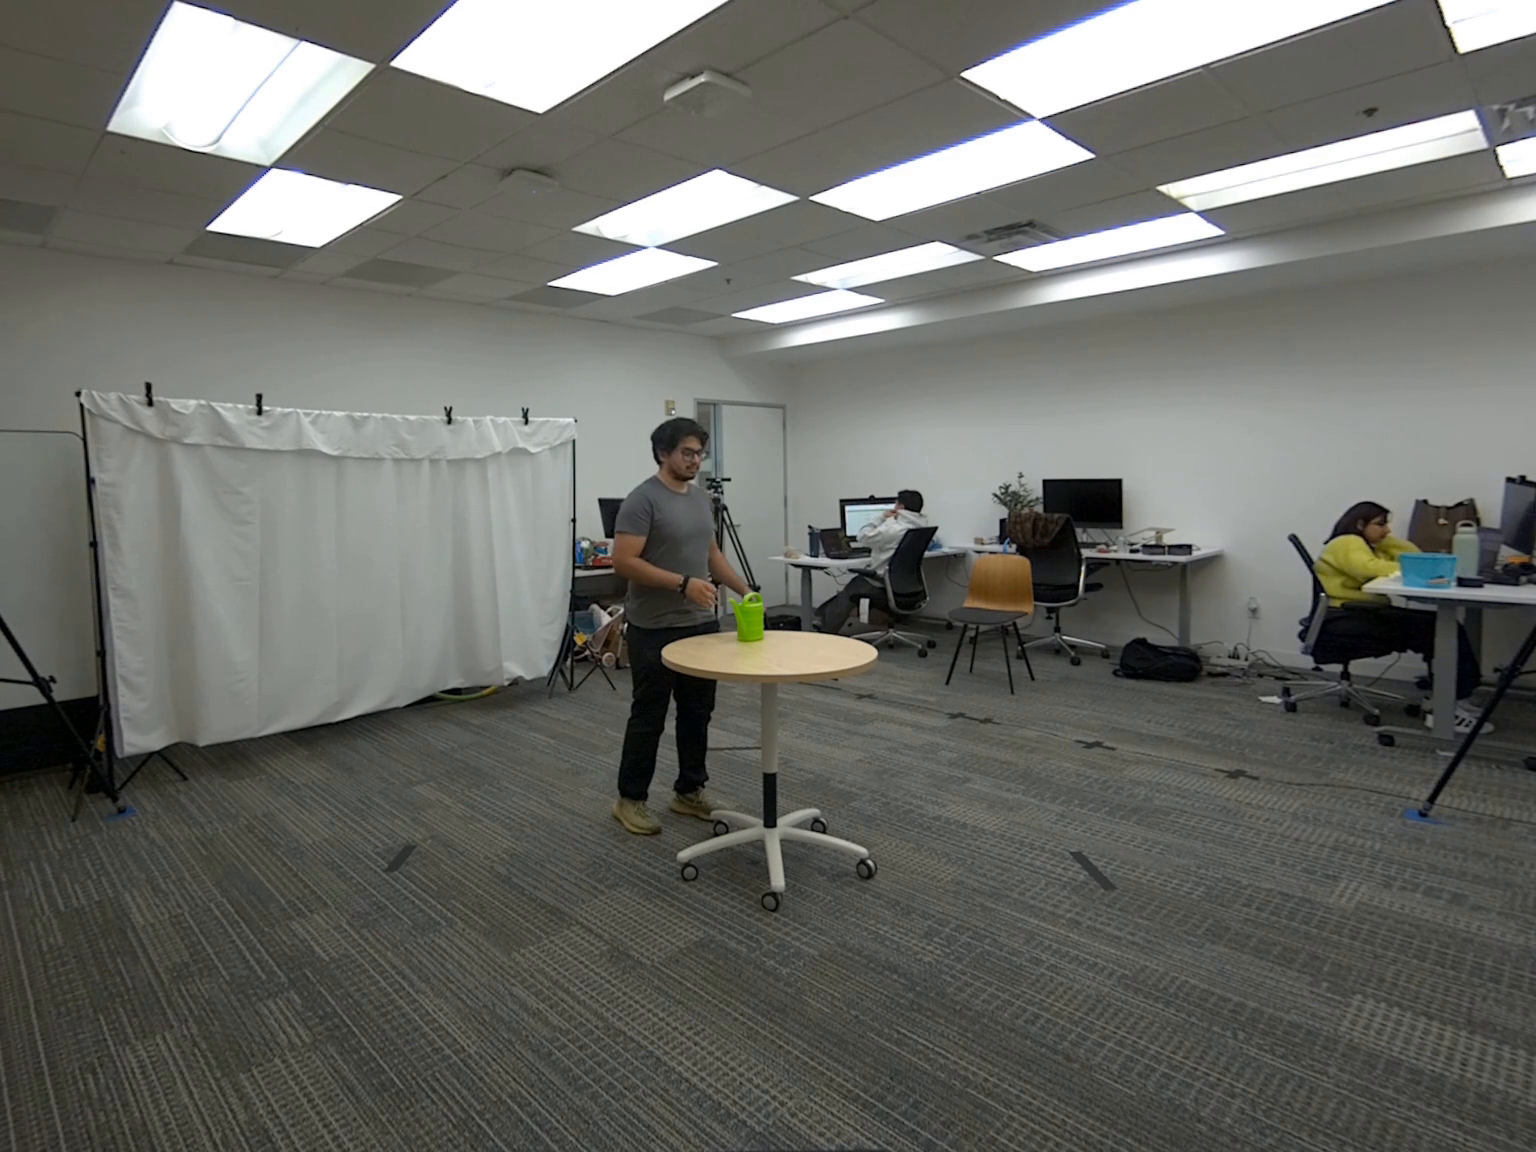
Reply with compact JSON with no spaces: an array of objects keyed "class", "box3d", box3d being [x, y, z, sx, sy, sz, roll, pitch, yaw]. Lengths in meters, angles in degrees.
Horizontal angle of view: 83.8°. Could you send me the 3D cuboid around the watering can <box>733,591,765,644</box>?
[{"class":"watering can","box3d":[-0.095,0.158,3.226,0.101,0.176,0.271,0,3,38]}]
